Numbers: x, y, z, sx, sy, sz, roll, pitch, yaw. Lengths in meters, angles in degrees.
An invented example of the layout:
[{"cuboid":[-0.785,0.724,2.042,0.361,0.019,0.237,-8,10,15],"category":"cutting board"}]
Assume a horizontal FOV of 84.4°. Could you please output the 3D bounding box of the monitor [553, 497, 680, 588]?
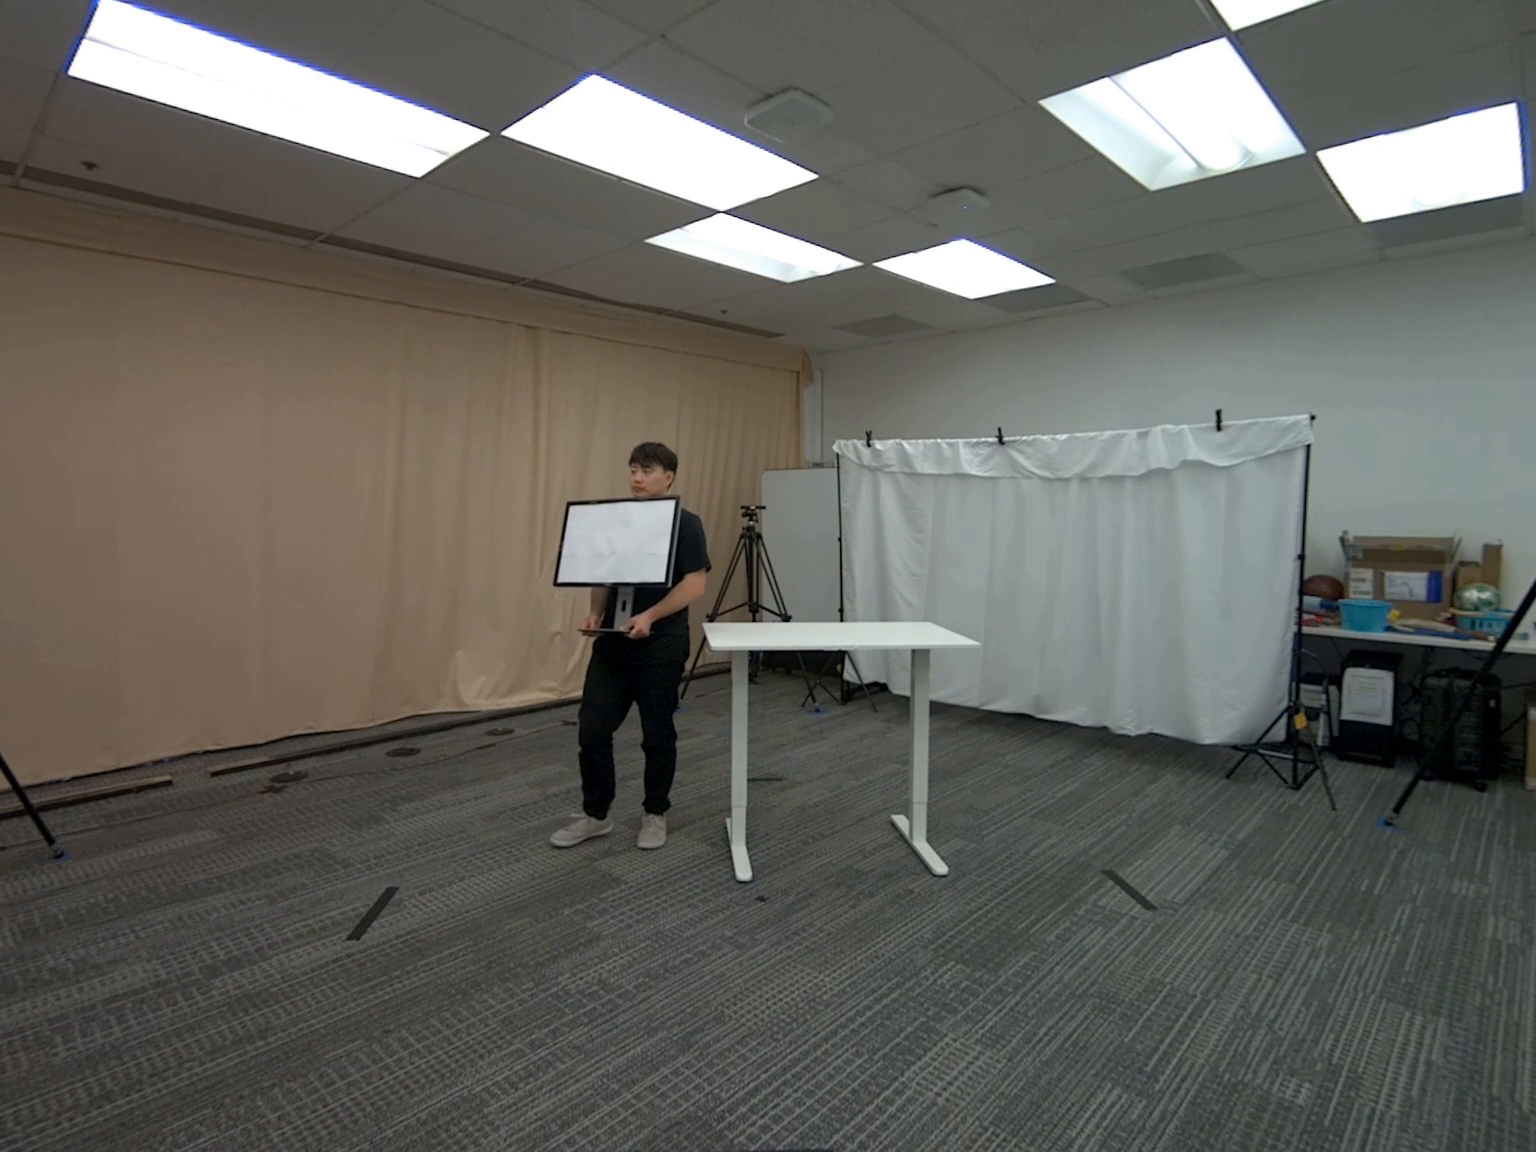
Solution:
[{"cuboid":[-0.583,-0.046,3.354,0.553,0.524,0.182,-1,-5,27],"category":"monitor"}]
